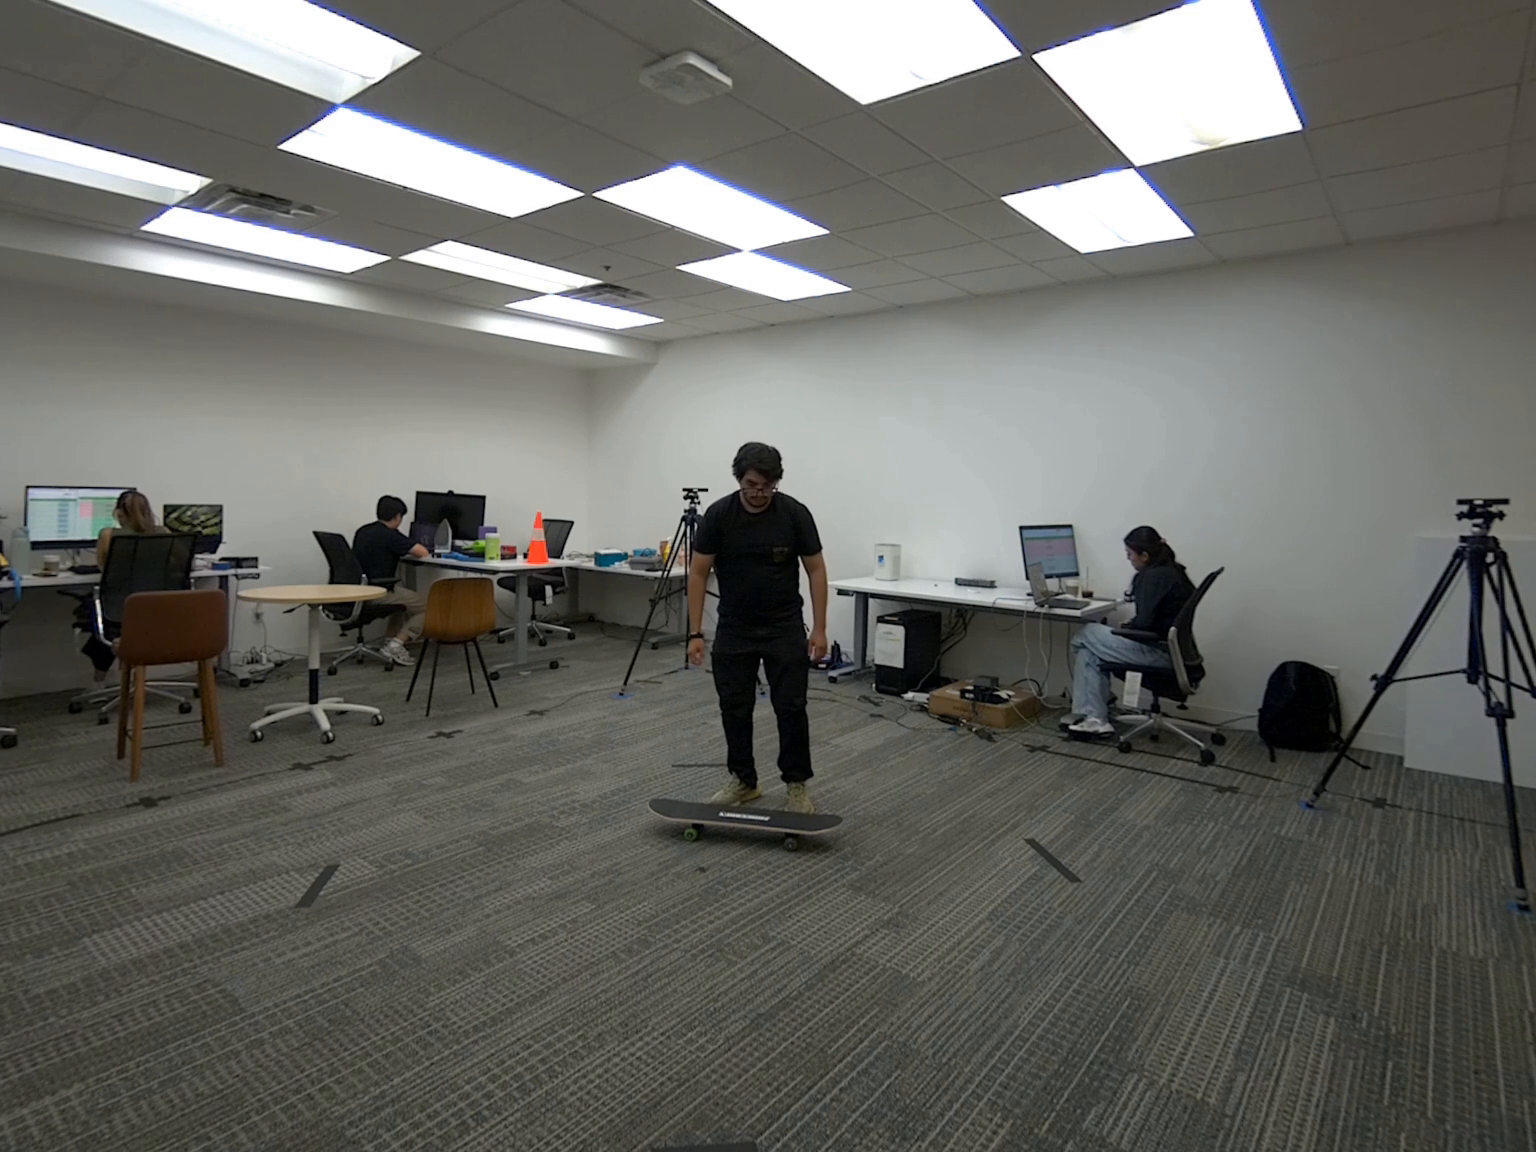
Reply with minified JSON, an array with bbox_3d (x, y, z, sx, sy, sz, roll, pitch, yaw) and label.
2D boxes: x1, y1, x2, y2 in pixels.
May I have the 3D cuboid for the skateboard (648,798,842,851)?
[{"bbox_3d":[-0.104,0.985,3.393,0.795,0.110,0.192,3,5,11],"label":"skateboard"}]
